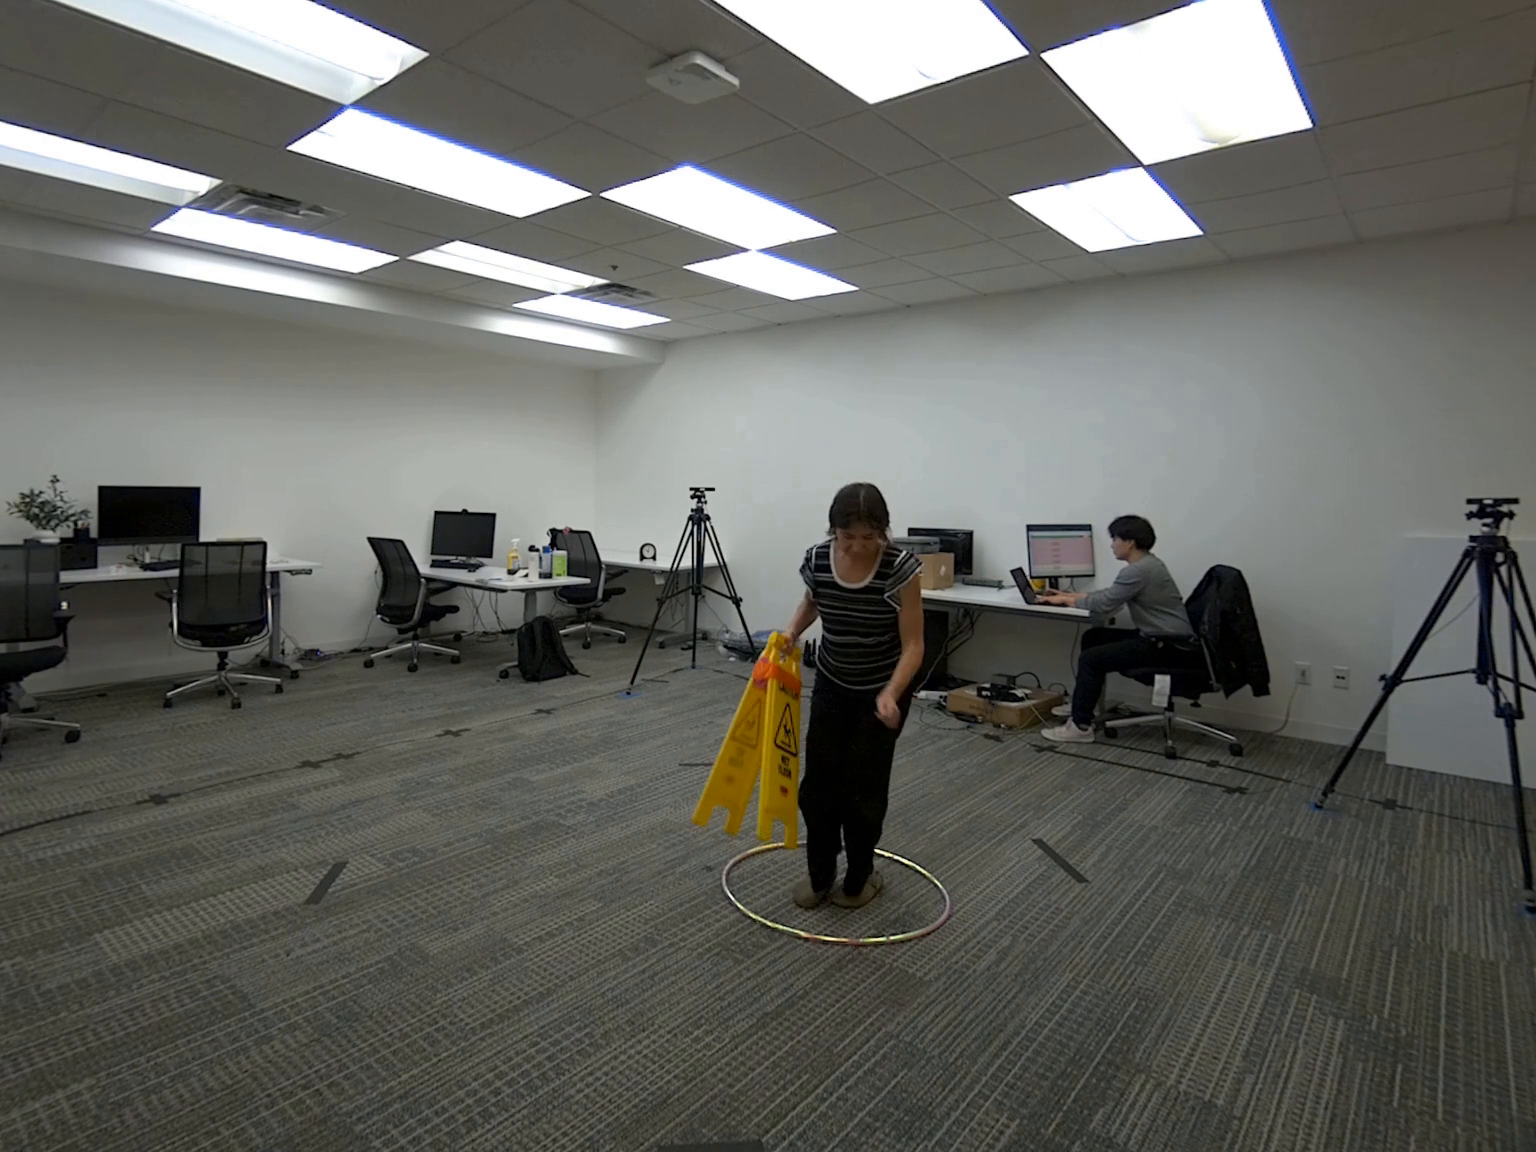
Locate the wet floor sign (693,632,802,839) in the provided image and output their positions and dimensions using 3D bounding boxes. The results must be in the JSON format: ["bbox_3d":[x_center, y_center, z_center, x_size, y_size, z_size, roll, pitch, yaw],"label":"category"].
[{"bbox_3d":[0.009,0.465,2.798,0.298,0.654,0.271,1,-21,31],"label":"wet floor sign"}]
